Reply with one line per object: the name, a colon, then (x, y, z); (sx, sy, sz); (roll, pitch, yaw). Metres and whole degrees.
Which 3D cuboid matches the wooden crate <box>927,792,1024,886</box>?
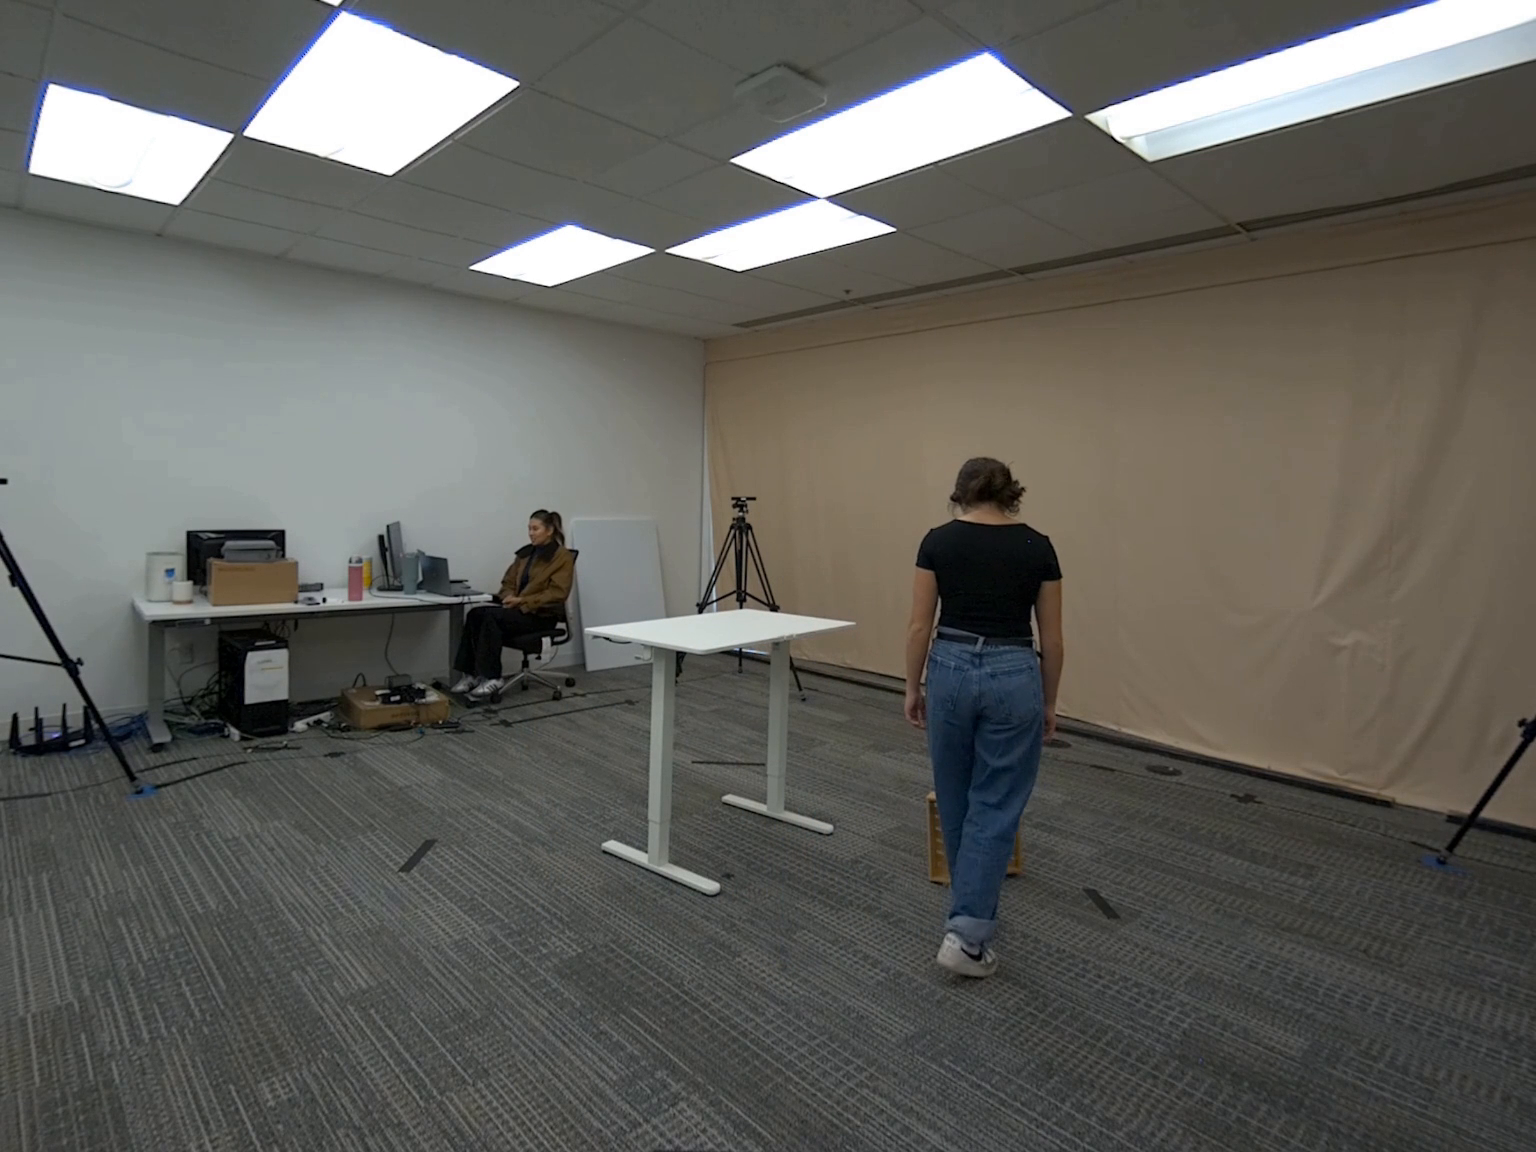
wooden crate: (0.779, 0.967, 3.141); (0.307, 0.325, 0.268); (-3, -1, 24)
